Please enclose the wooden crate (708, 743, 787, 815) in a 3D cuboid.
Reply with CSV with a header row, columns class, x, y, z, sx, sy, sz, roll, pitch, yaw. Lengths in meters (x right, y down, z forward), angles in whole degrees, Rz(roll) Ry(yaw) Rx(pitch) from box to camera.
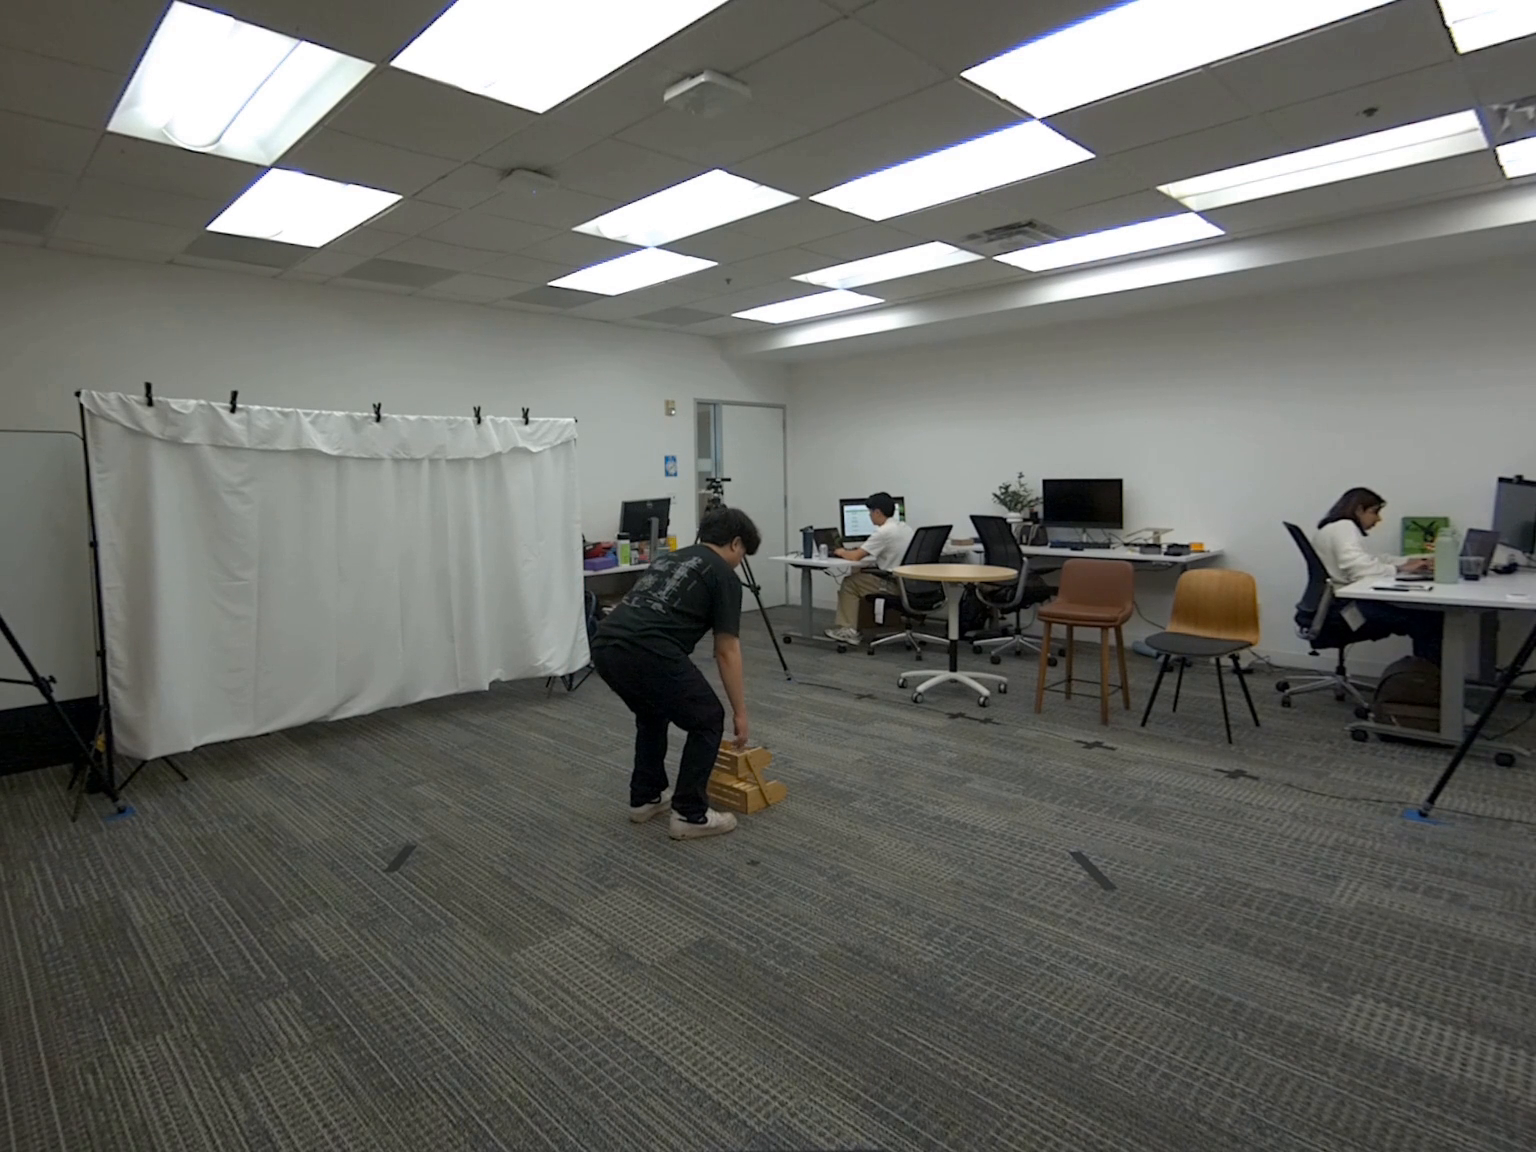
class,x,y,z,sx,sy,sz,roll,pitch,yaw
wooden crate,-0.129,0.837,3.729,0.334,0.272,0.294,4,8,44
